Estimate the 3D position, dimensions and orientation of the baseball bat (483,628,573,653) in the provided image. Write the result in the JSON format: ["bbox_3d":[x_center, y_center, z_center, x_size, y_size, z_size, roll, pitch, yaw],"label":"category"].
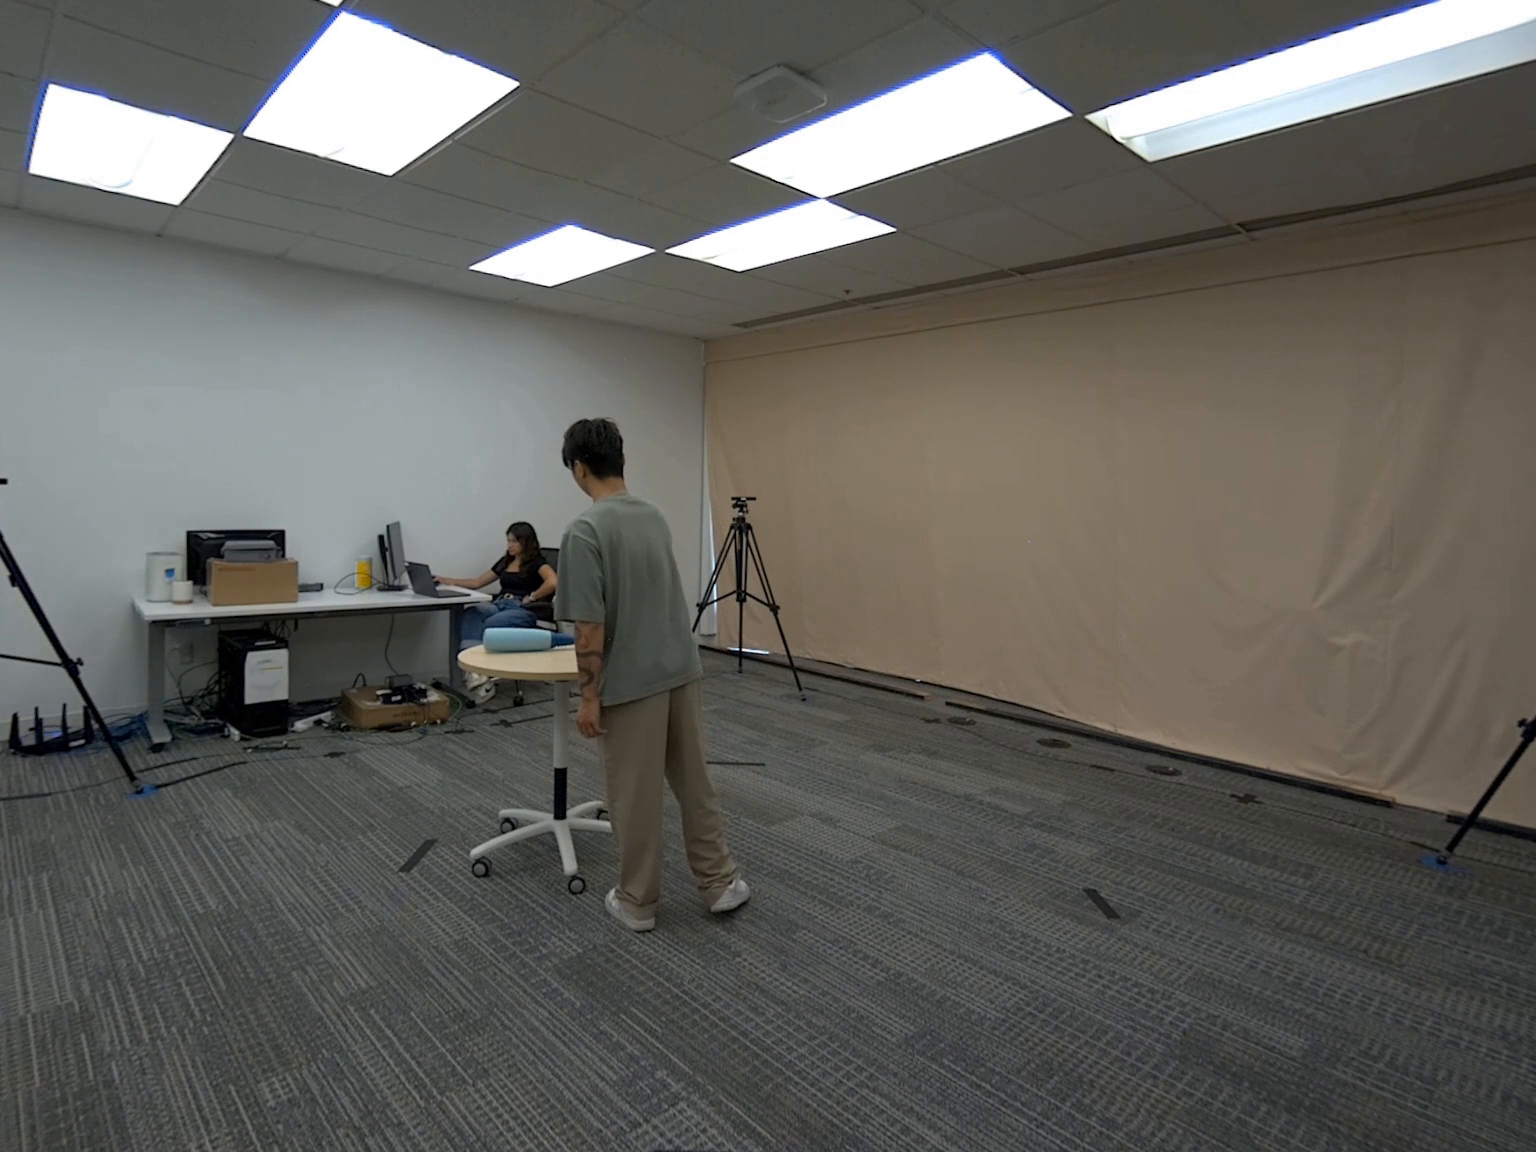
[{"bbox_3d":[-0.841,0.255,3.296,0.533,0.089,0.091,3,3,-24],"label":"baseball bat"}]
